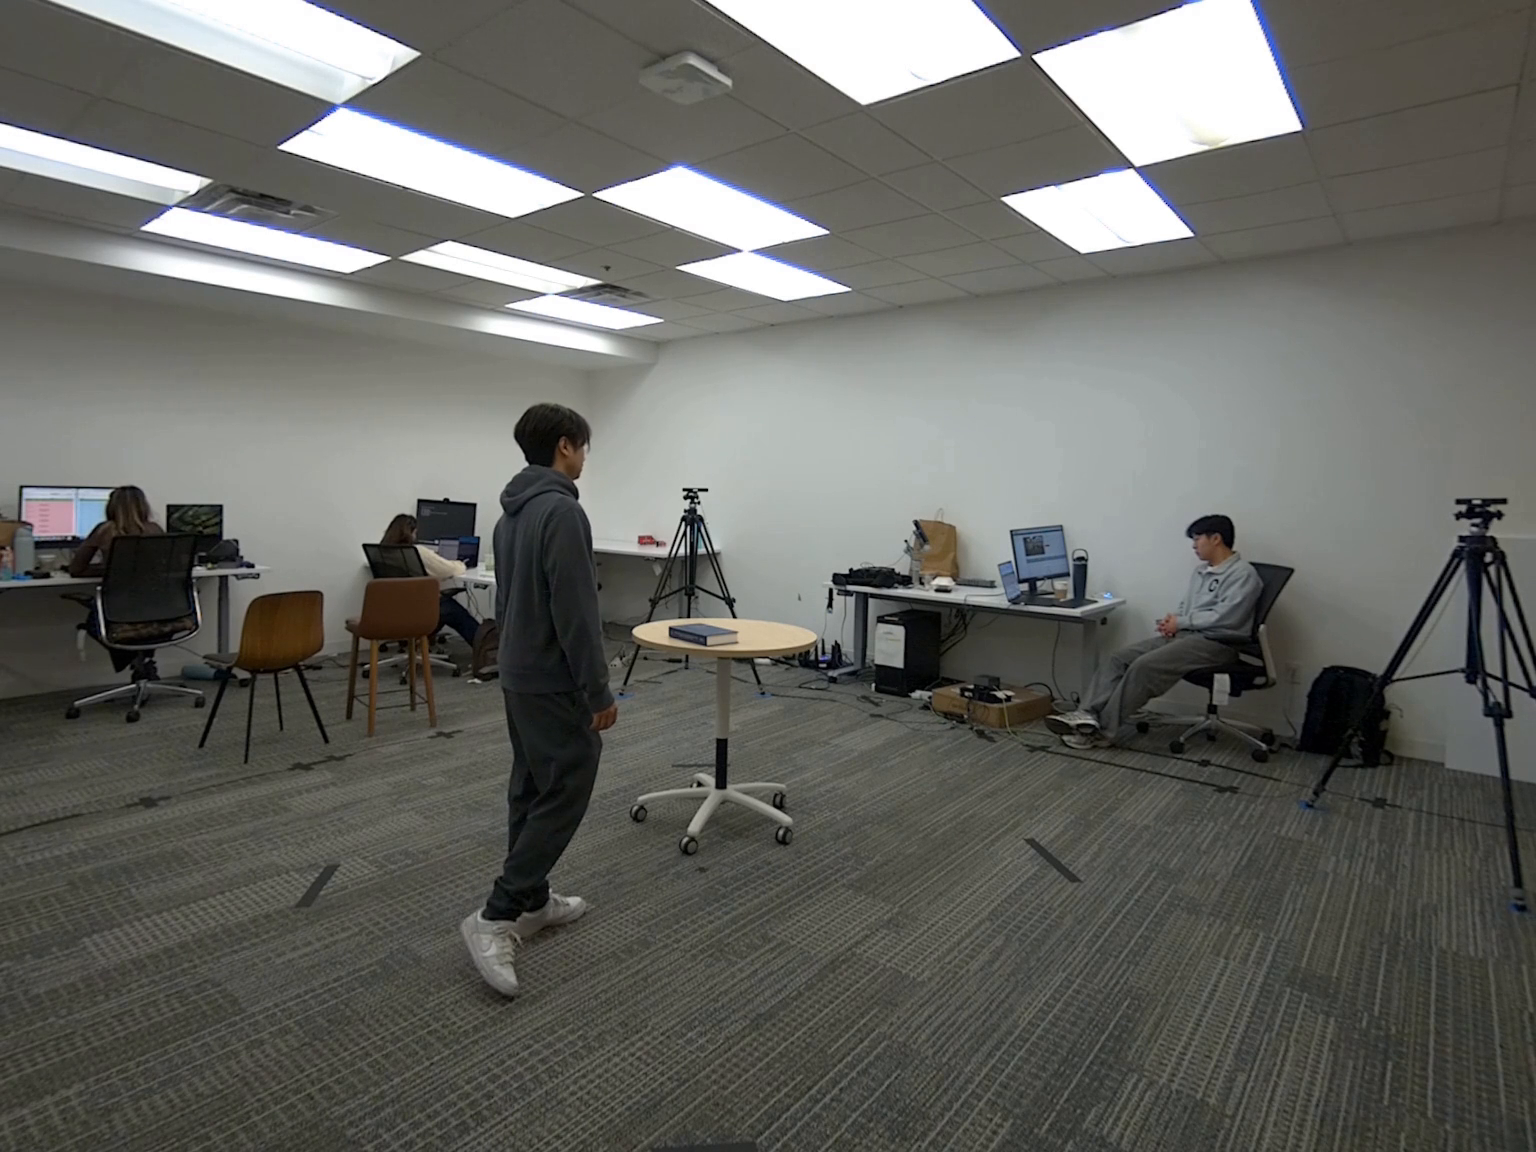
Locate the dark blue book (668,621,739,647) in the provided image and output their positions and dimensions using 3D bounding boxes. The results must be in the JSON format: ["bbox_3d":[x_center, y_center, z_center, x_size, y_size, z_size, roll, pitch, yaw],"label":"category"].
[{"bbox_3d":[-0.263,0.231,3.356,0.158,0.045,0.253,-4,7,-42],"label":"dark blue book"}]
